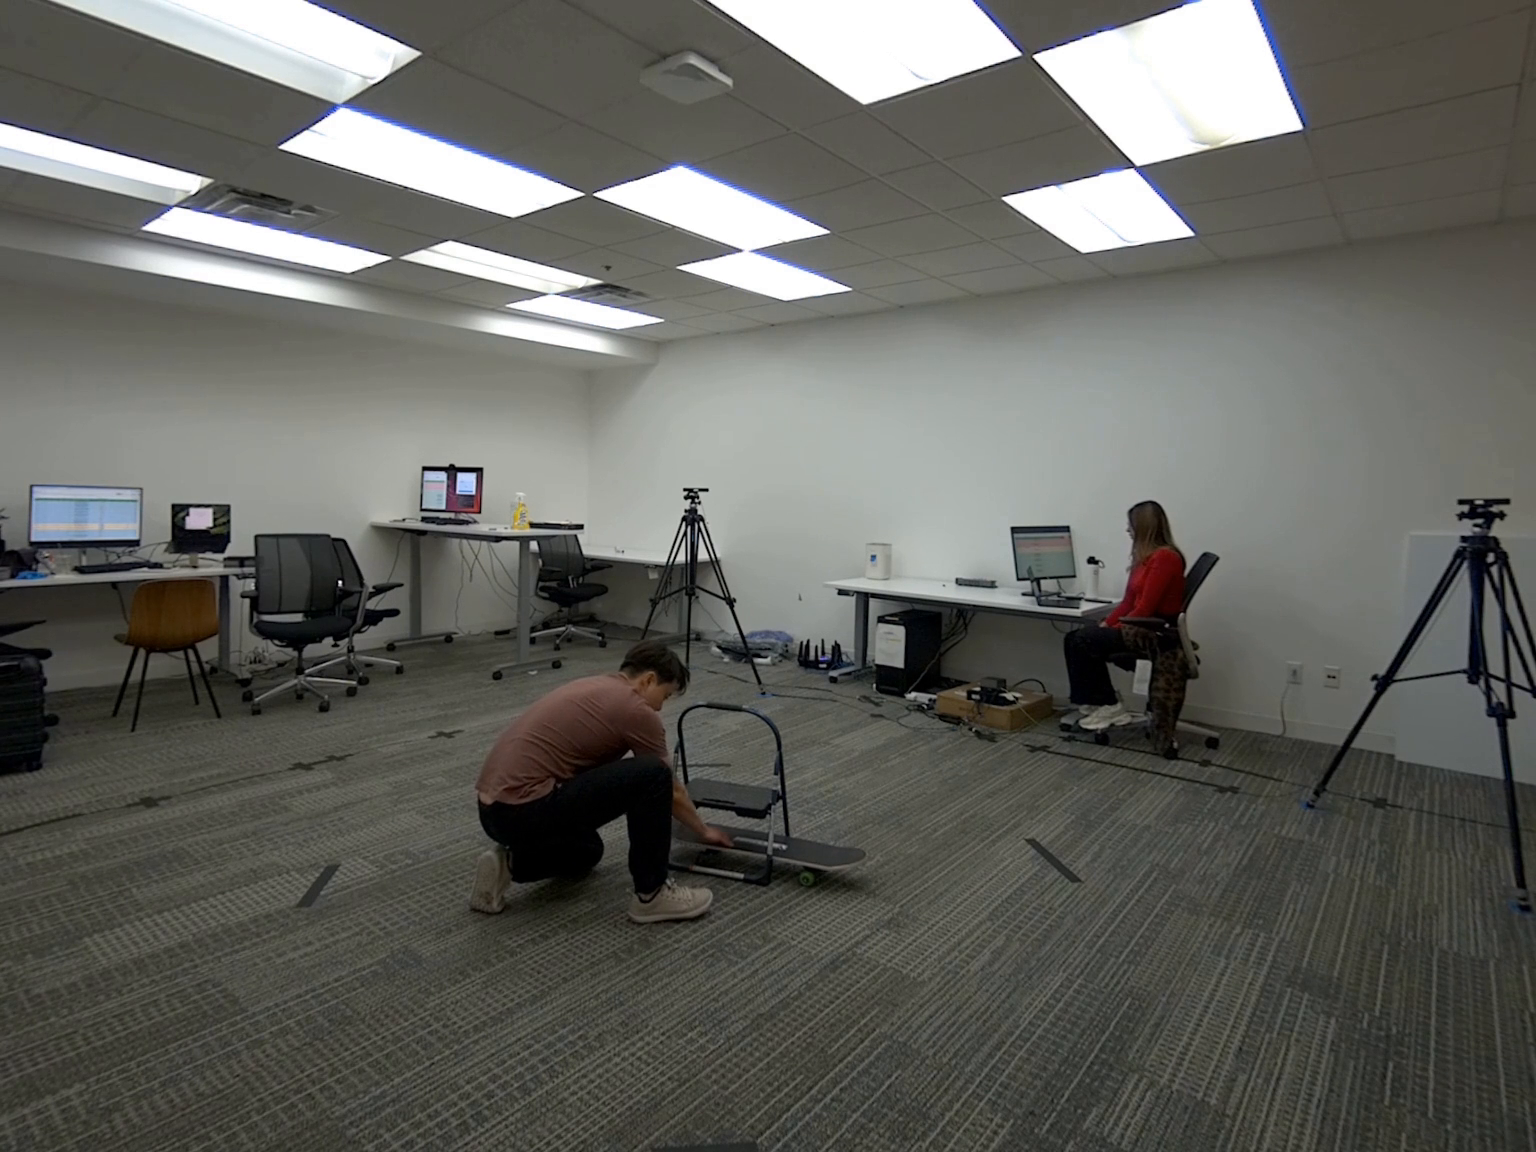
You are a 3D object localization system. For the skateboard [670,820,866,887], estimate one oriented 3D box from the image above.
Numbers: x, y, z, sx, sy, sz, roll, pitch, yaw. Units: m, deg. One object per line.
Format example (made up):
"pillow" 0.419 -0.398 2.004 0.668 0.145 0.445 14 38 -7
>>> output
"skateboard" -0.037 1.016 3.134 0.802 0.110 0.190 3 6 19
